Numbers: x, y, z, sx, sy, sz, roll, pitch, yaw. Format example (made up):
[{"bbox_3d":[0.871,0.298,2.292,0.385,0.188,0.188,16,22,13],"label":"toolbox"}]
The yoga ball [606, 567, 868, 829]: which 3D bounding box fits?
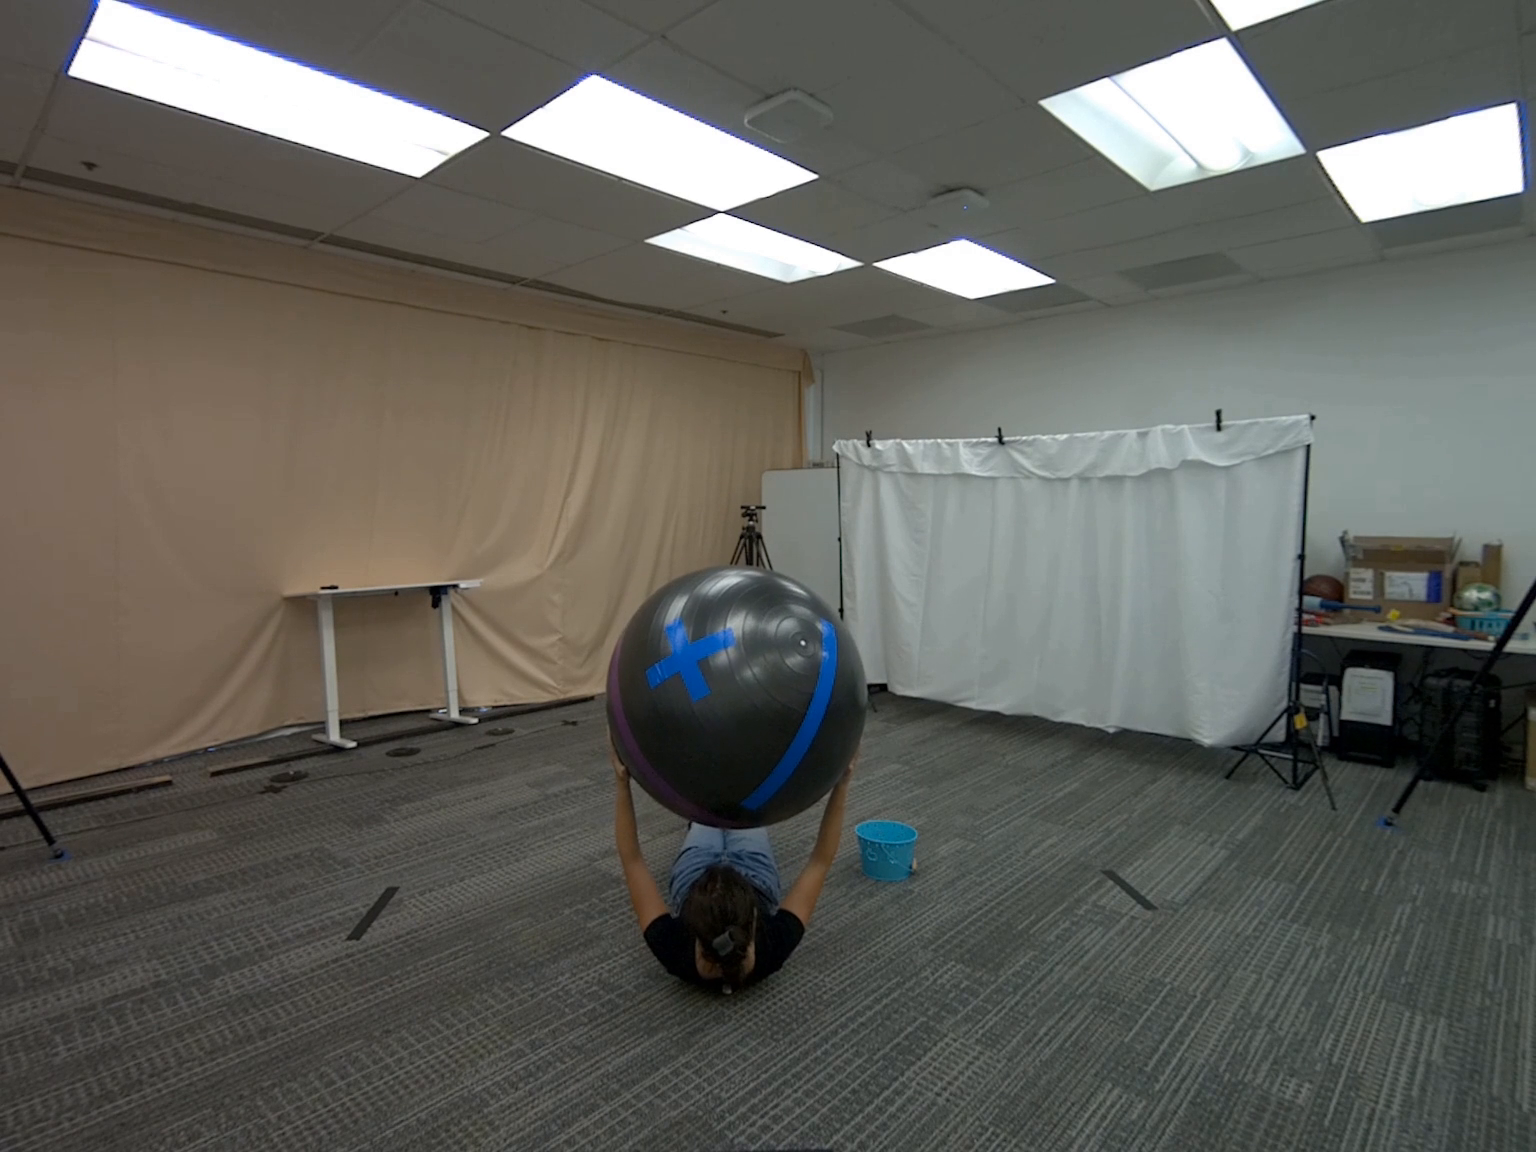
[{"bbox_3d":[-0.094,0.351,2.470,0.757,0.756,0.760,0,4,-2],"label":"yoga ball"}]
